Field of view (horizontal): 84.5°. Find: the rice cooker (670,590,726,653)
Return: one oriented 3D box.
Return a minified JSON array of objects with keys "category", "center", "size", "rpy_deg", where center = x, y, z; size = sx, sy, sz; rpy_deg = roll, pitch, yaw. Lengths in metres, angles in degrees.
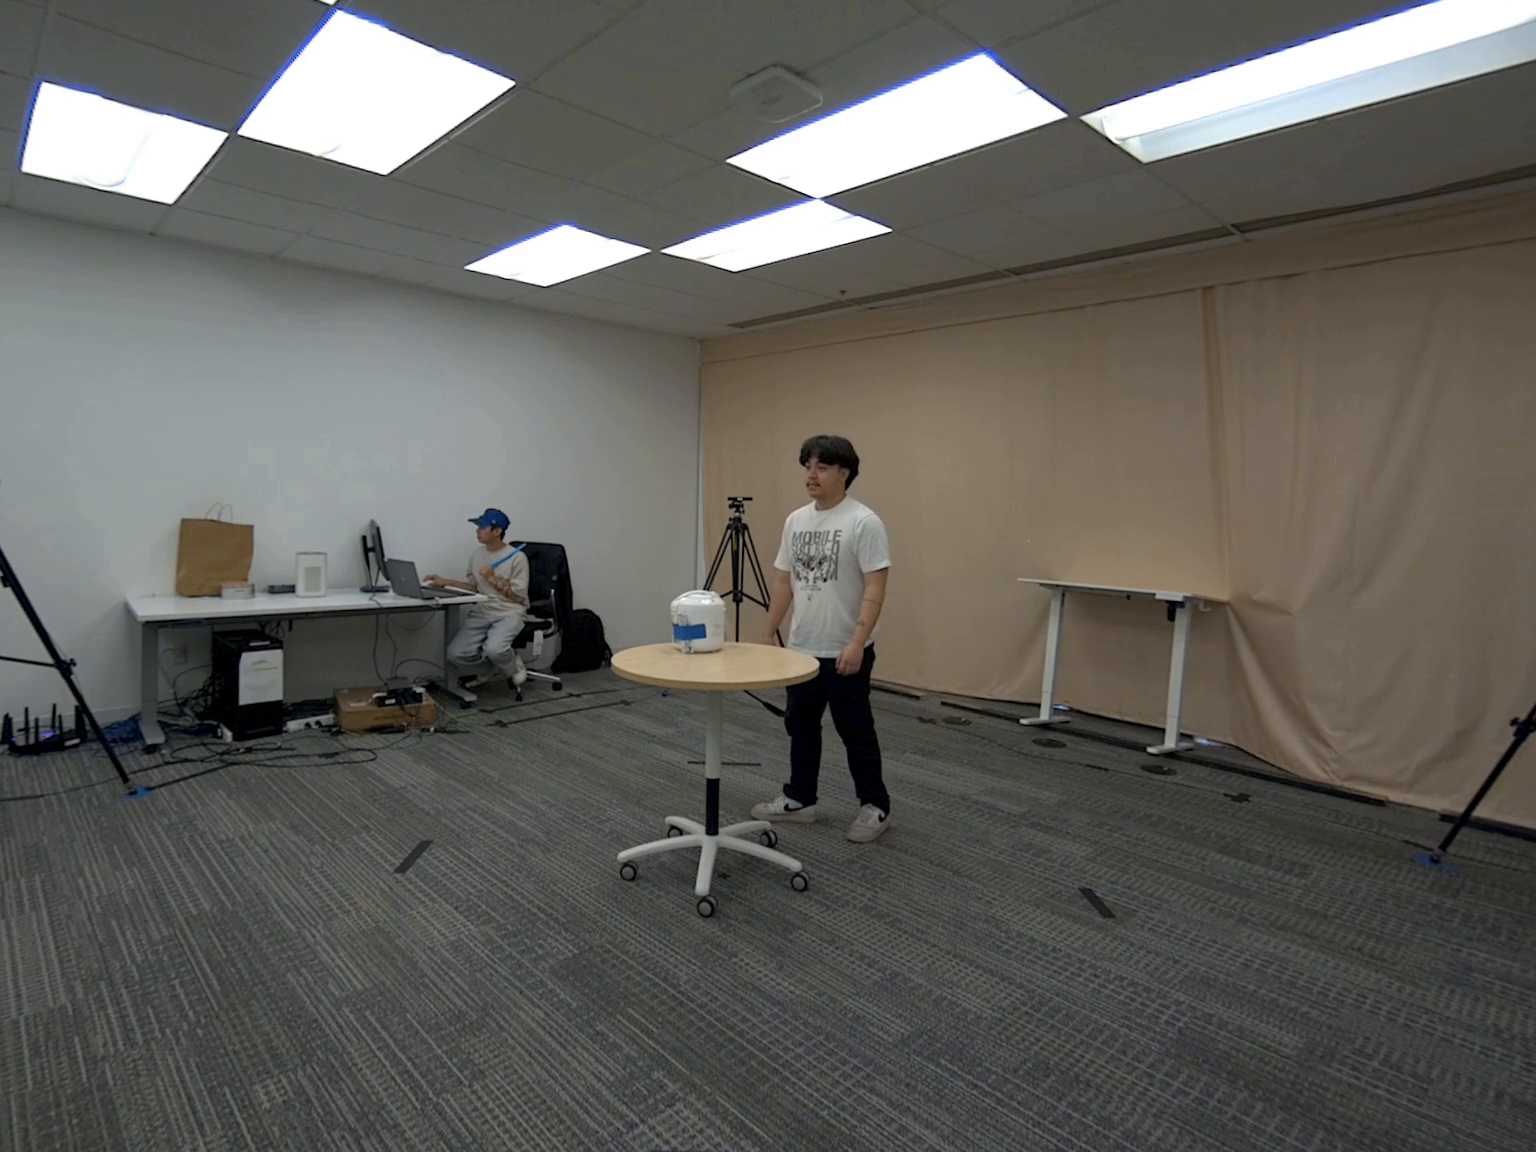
[{"category":"rice cooker","center":[-0.283,0.173,3.304],"size":[0.217,0.232,0.221],"rpy_deg":[0,5,-20]}]
